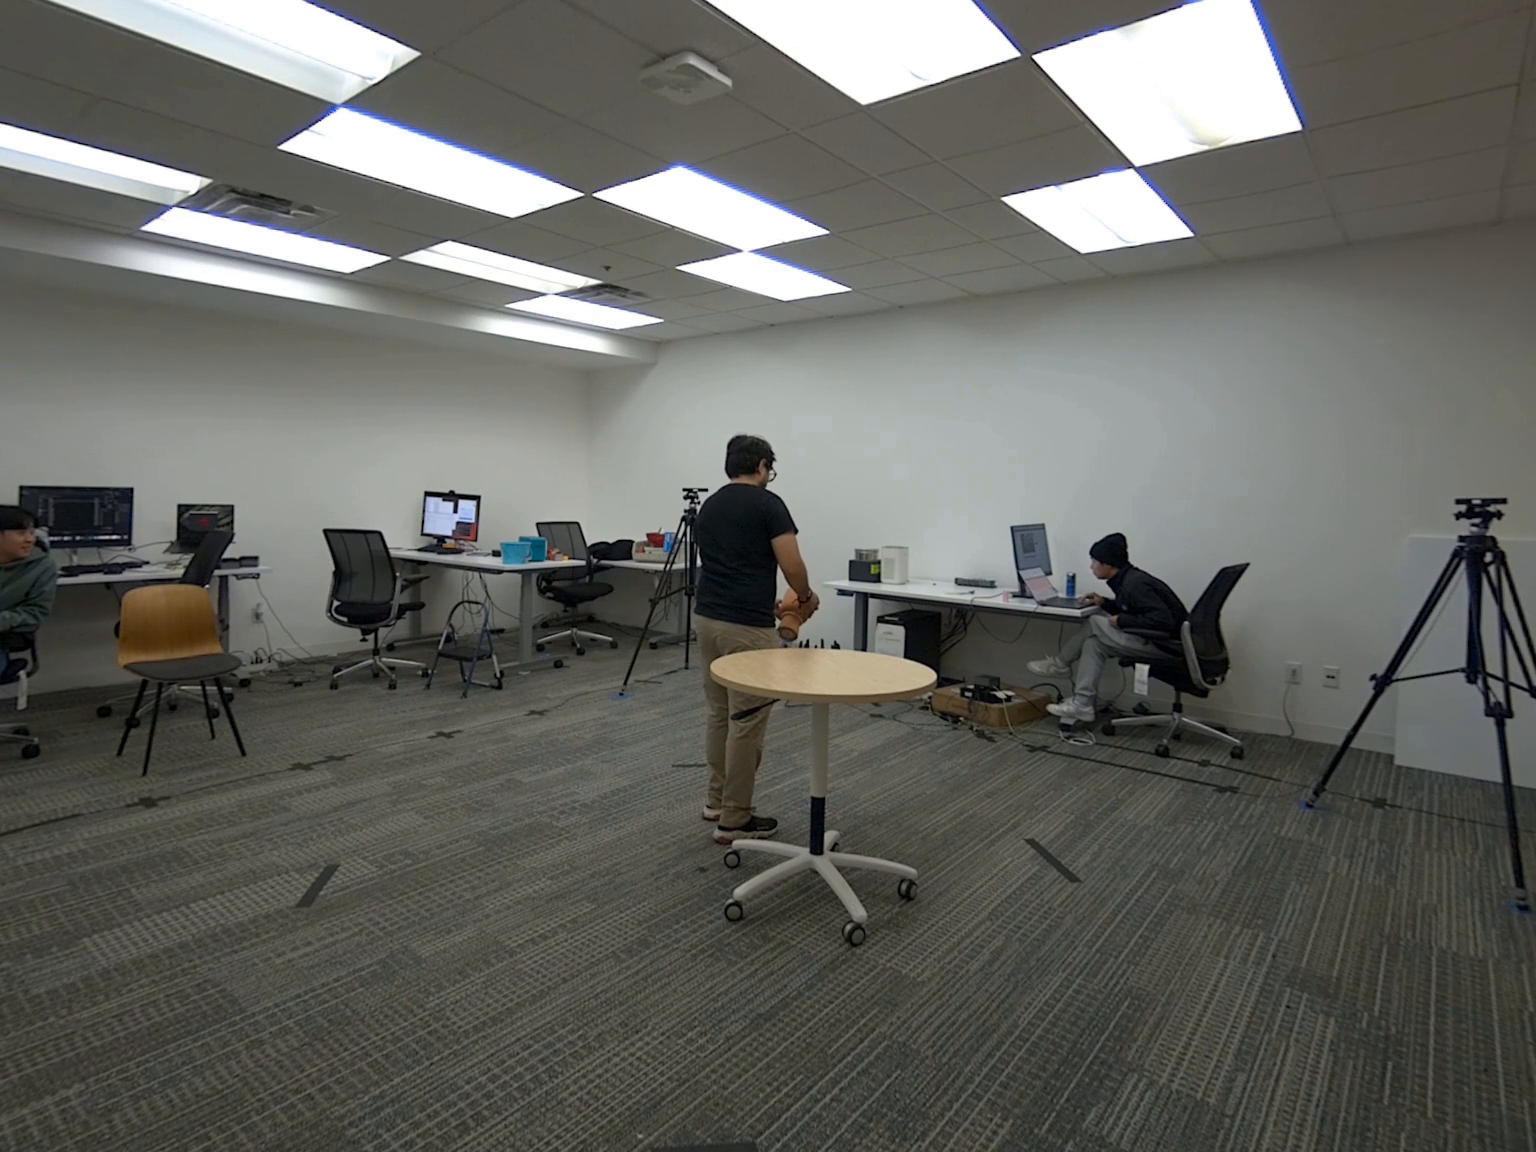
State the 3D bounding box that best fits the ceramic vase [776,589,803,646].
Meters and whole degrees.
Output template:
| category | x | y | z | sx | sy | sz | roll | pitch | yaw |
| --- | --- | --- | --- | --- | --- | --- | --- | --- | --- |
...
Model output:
| category | x | y | z | sx | sy | sz | roll | pitch | yaw |
| --- | --- | --- | --- | --- | --- | --- | --- | --- | --- |
| ceramic vase | 0.104 | 0.169 | 3.703 | 0.136 | 0.222 | 0.155 | 19 | -39 | 6 |
